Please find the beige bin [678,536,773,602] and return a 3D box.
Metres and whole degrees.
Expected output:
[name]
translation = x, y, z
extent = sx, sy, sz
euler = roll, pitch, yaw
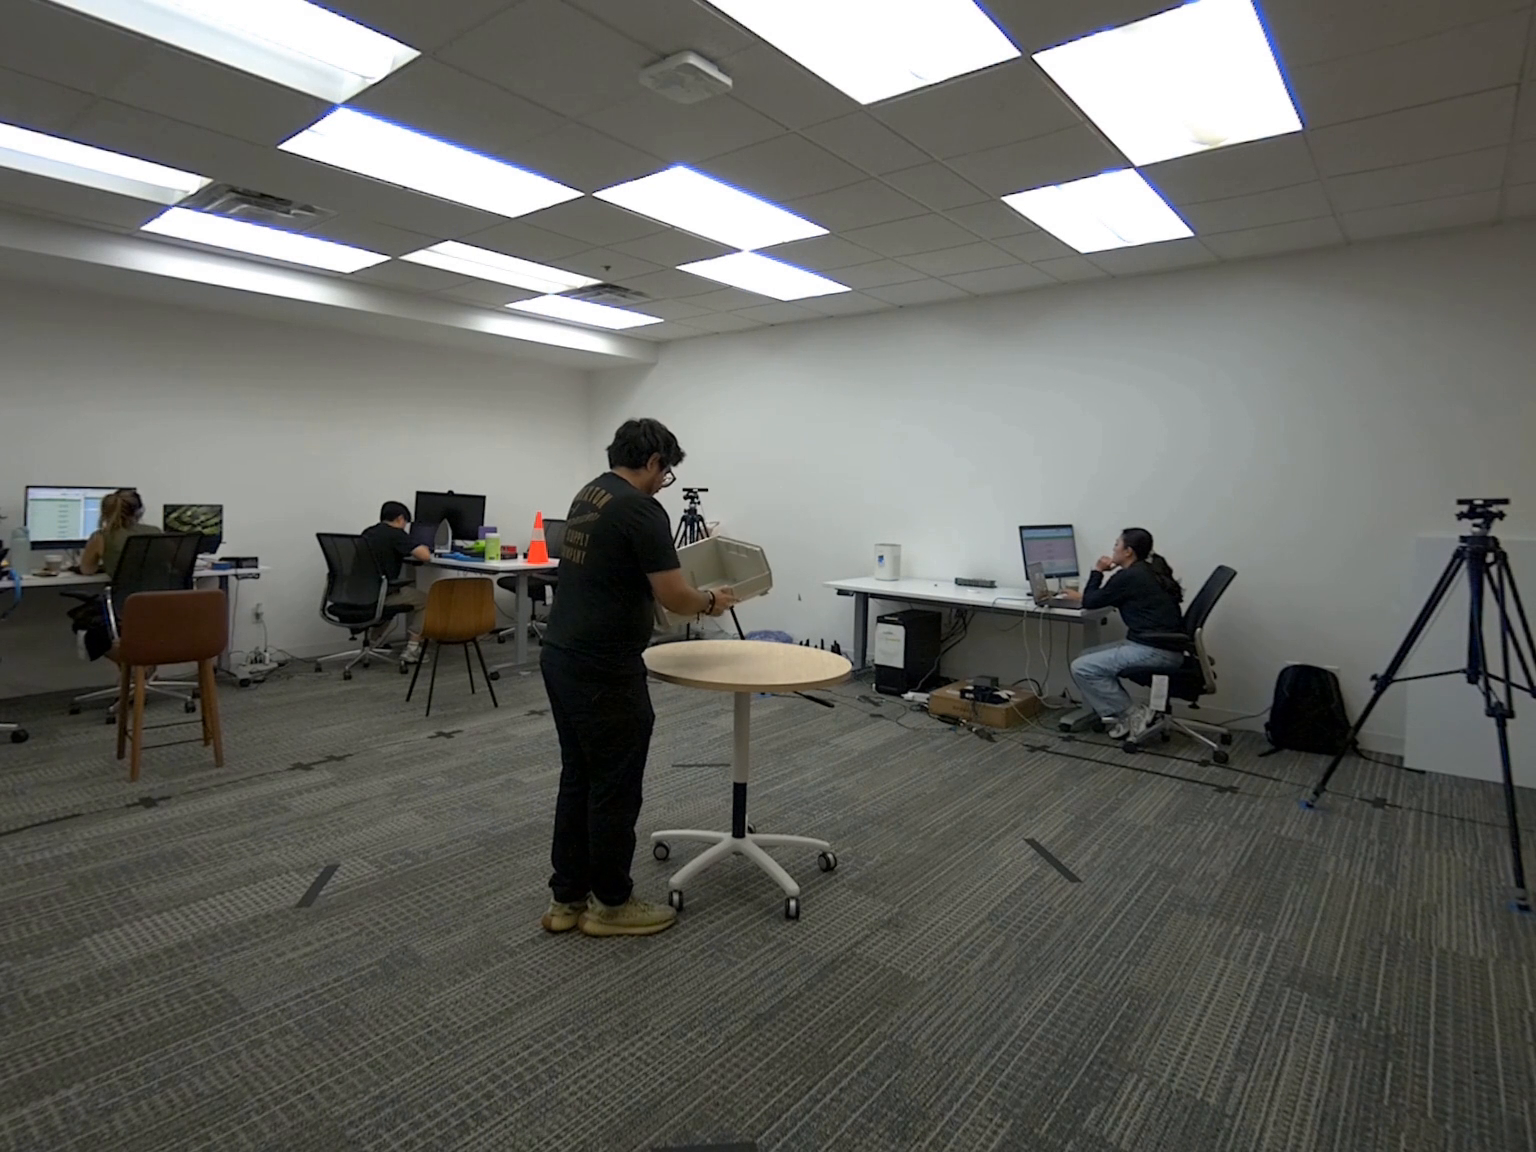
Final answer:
[beige bin]
translation = -0.264, 0.029, 3.018
extent = 0.416, 0.186, 0.389
euler = -21, 18, -24
